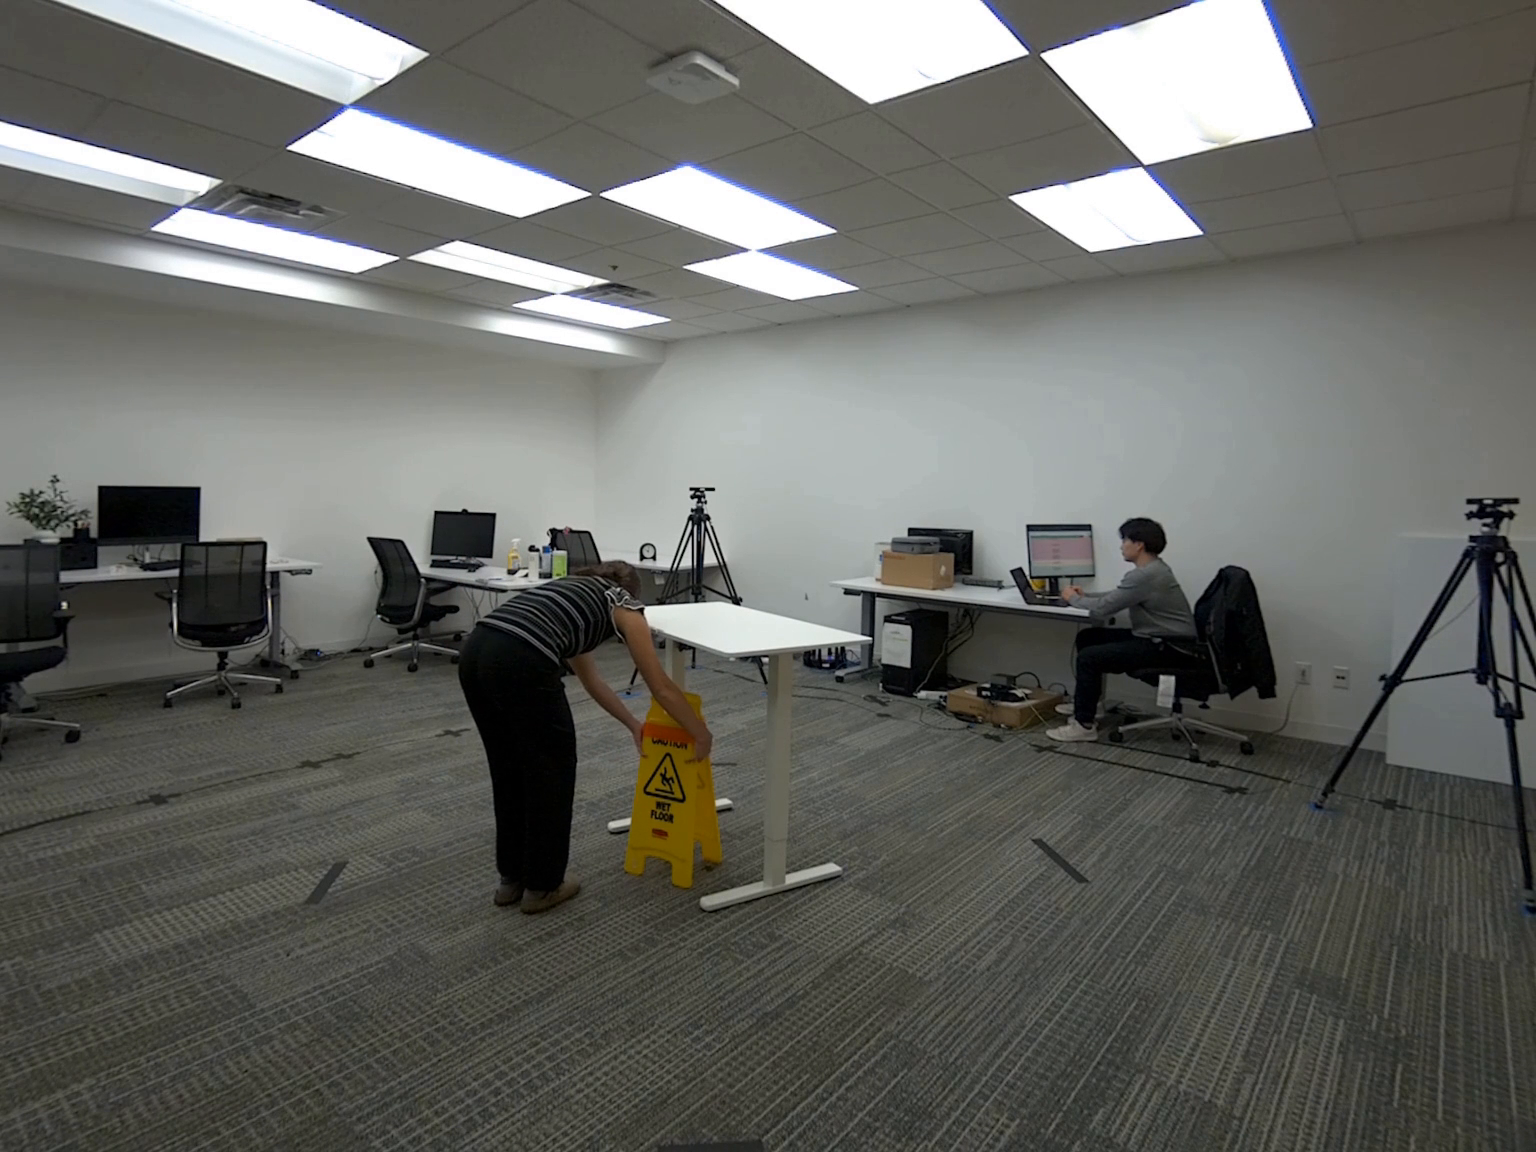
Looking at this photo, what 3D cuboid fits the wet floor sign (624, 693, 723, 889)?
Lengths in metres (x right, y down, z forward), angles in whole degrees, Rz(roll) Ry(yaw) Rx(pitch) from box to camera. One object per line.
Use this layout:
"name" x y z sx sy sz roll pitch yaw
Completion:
"wet floor sign" -0.353 0.743 3.102 0.290 0.645 0.282 2 2 27
